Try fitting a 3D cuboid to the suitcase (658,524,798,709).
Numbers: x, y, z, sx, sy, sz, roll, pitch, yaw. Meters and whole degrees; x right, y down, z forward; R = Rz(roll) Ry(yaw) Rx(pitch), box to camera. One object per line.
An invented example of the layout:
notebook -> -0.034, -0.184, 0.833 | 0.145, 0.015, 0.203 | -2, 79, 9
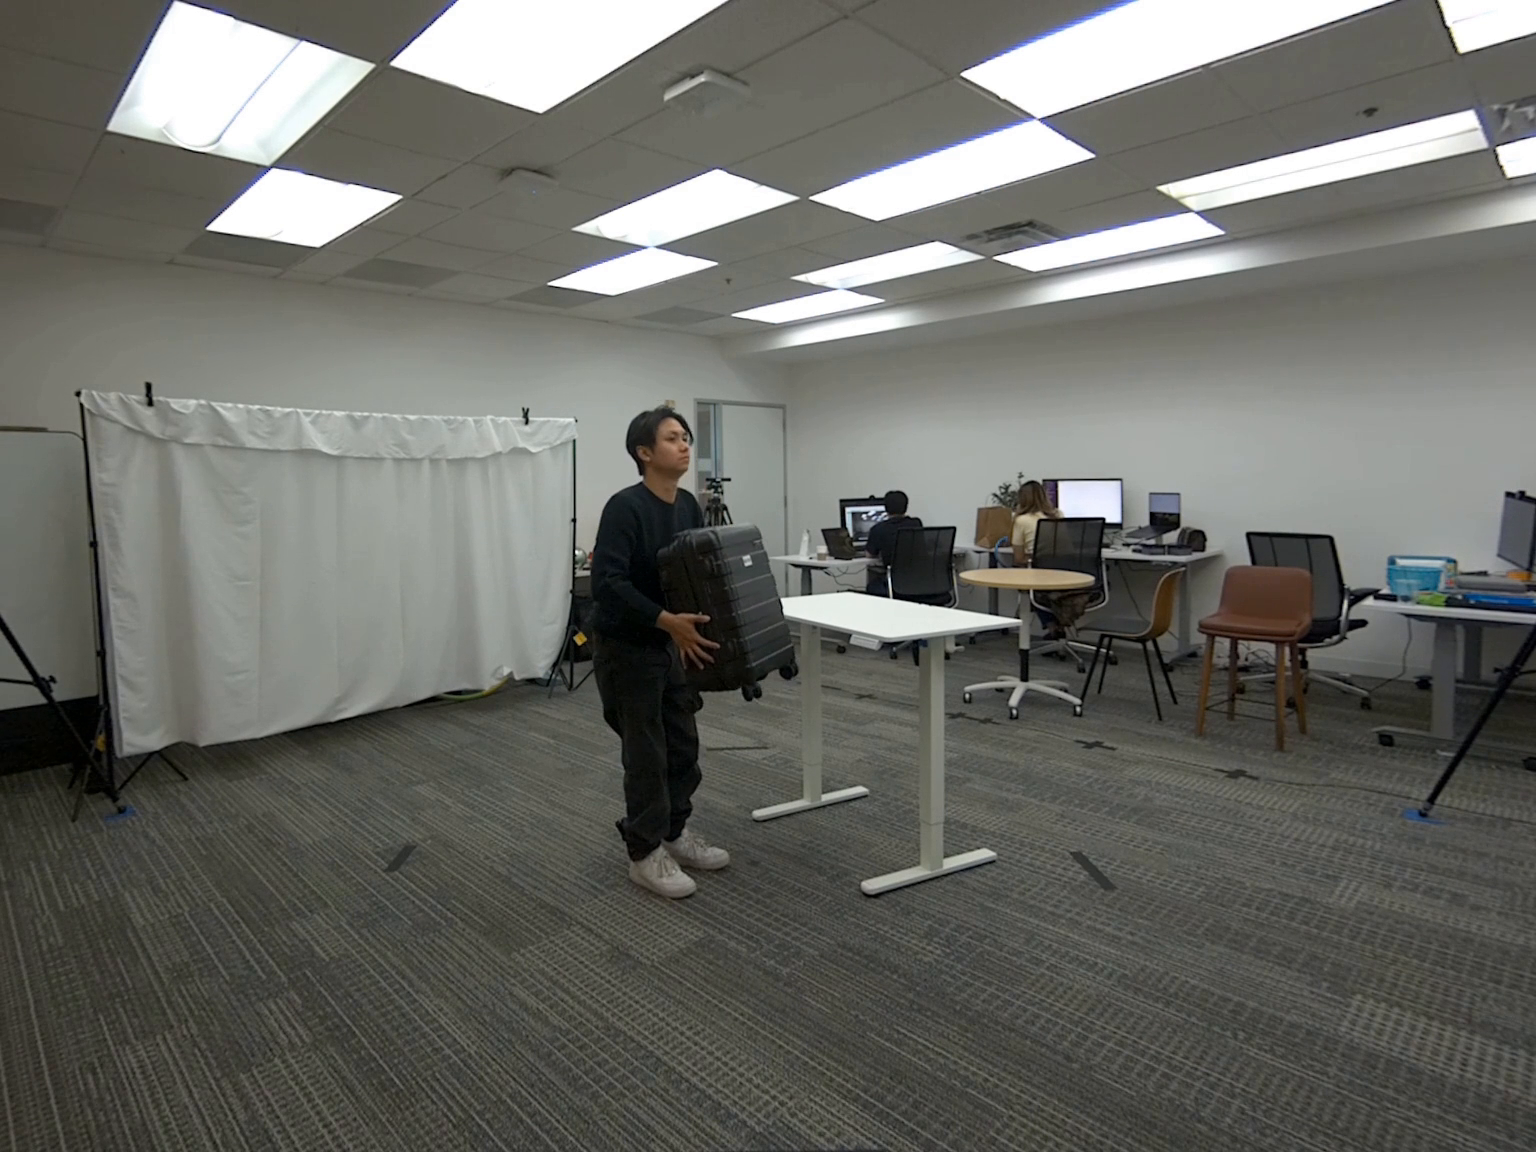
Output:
suitcase -> -0.129, 0.105, 2.735 | 0.252, 0.551, 0.368 | -15, -1, 27
